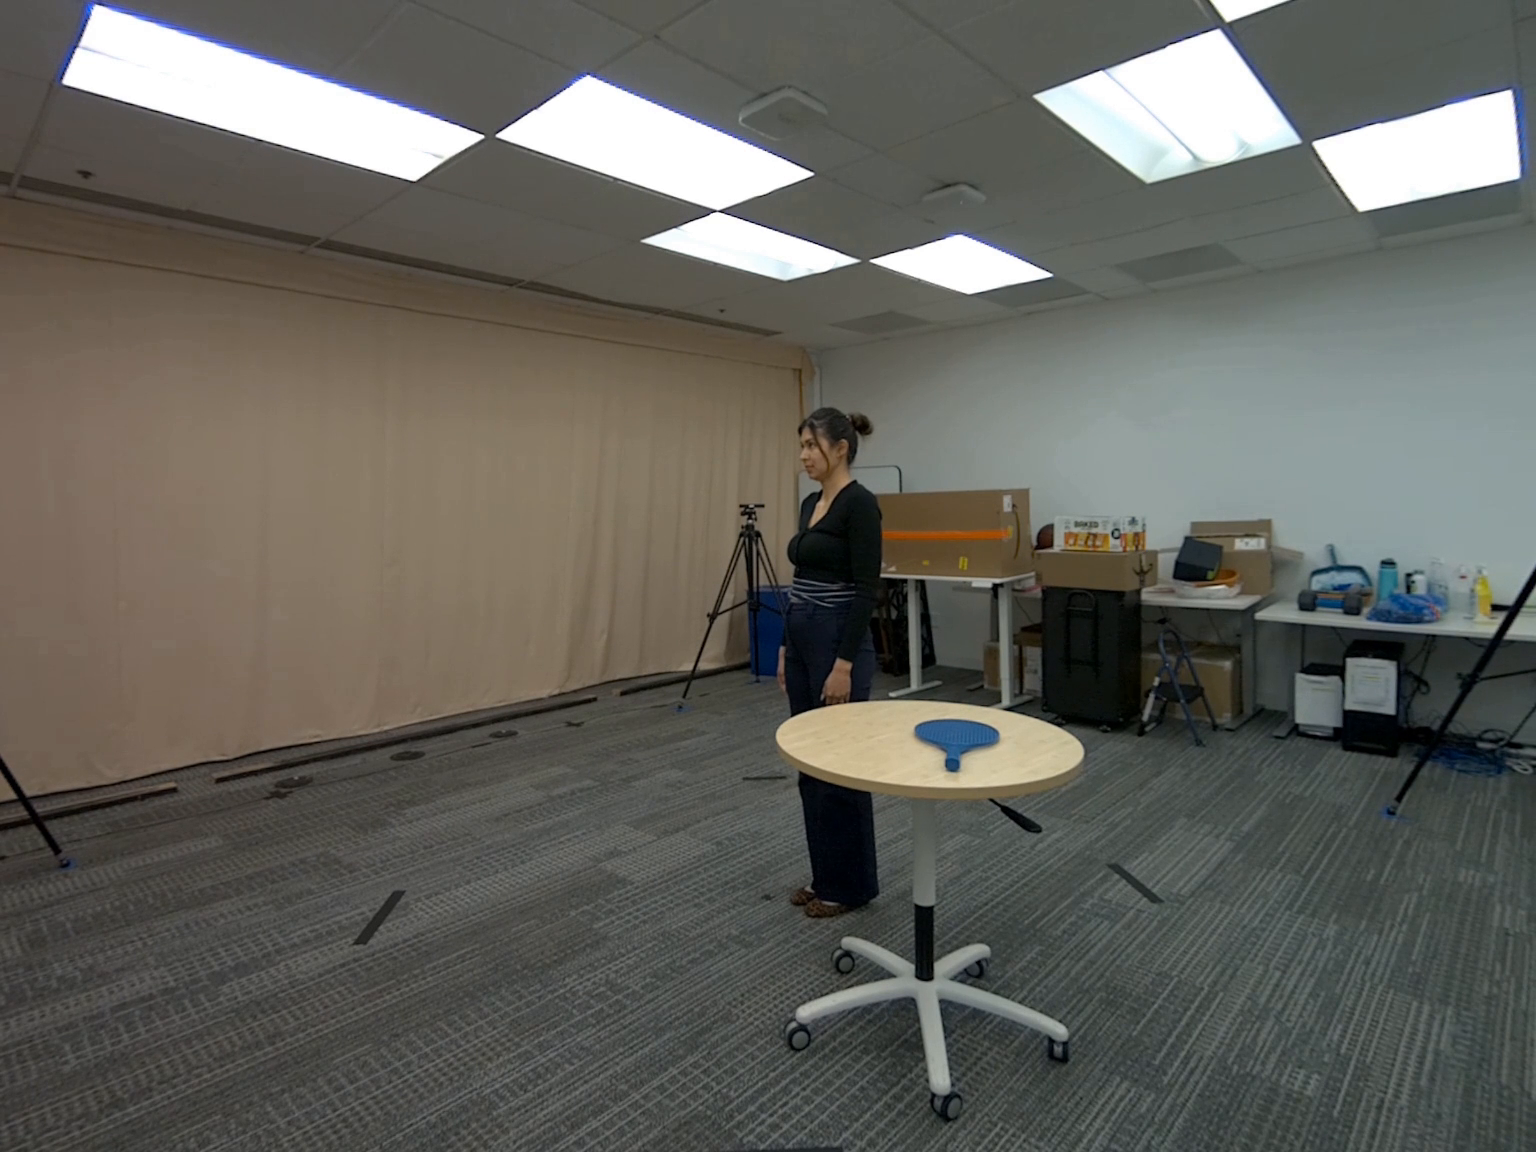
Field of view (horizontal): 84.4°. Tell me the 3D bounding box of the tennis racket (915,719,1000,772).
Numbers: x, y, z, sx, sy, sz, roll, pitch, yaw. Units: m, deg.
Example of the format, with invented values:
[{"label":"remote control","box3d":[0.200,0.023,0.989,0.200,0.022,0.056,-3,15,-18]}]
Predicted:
[{"label":"tennis racket","box3d":[0.482,0.416,2.097,0.217,0.032,0.427,0,4,13]}]
